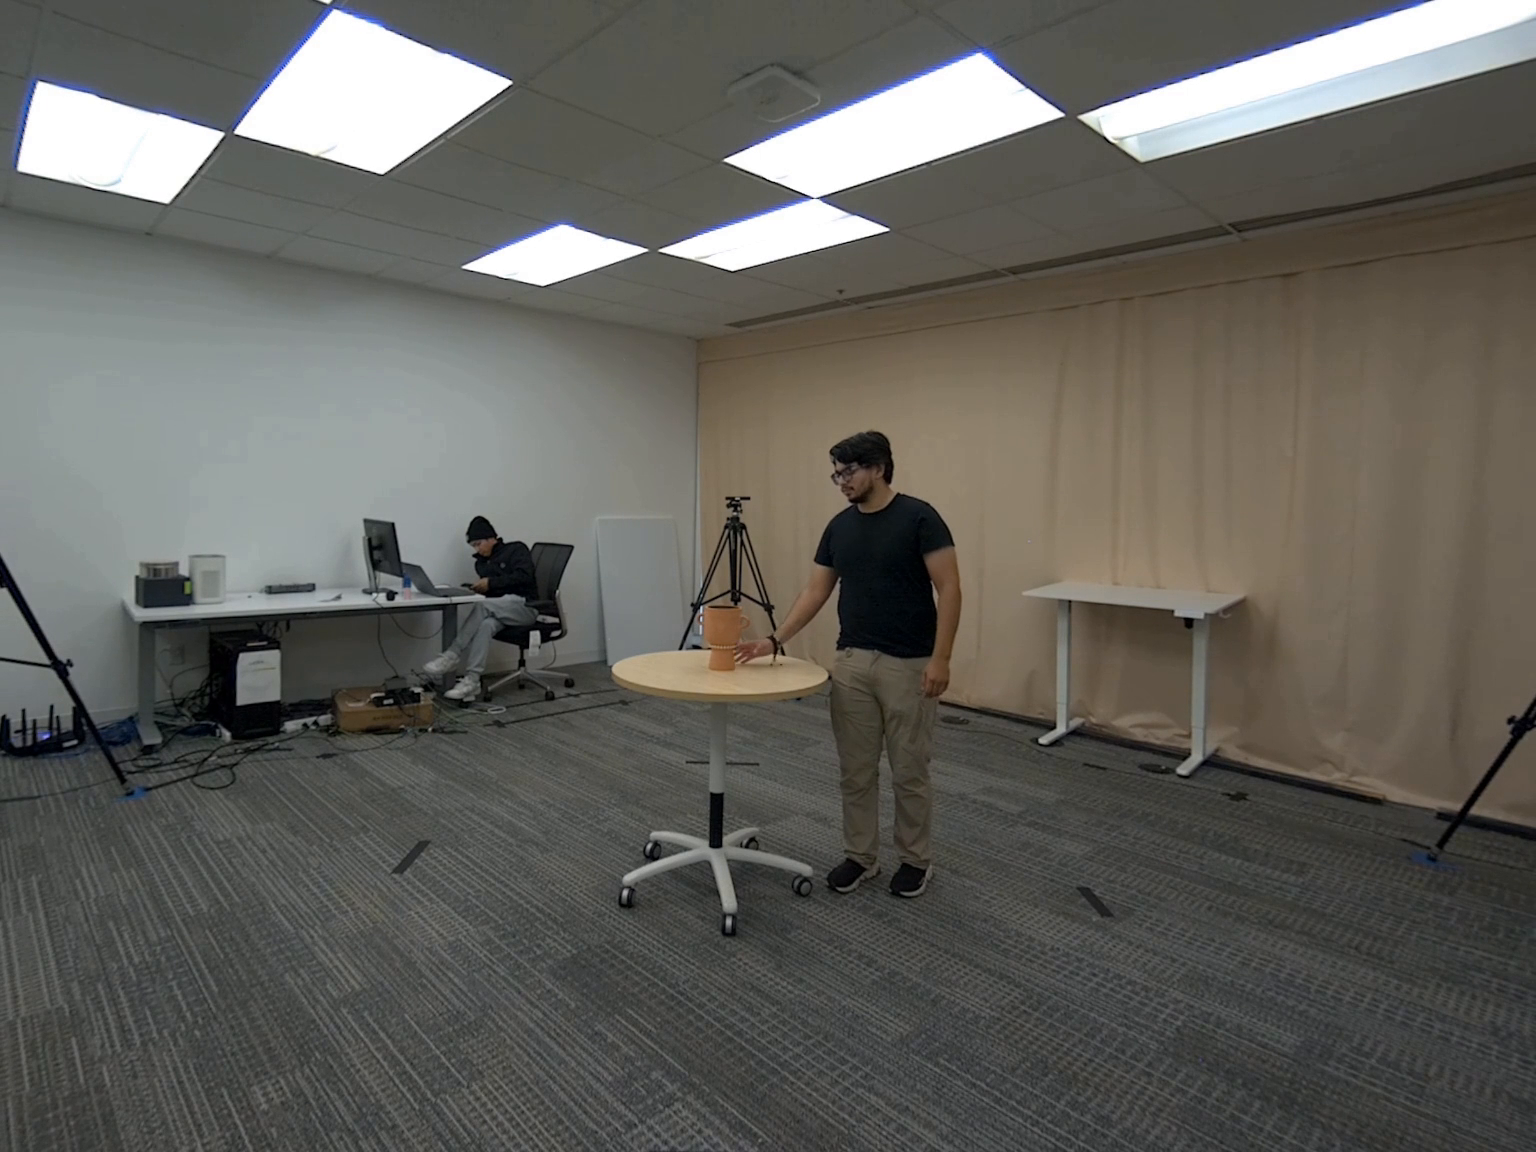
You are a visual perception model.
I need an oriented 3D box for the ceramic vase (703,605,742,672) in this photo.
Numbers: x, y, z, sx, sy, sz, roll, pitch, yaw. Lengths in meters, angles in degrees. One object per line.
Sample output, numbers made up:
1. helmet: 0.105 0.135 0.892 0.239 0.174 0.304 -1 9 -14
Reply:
1. ceramic vase: -0.164 0.220 3.010 0.132 0.219 0.162 -1 4 -34
